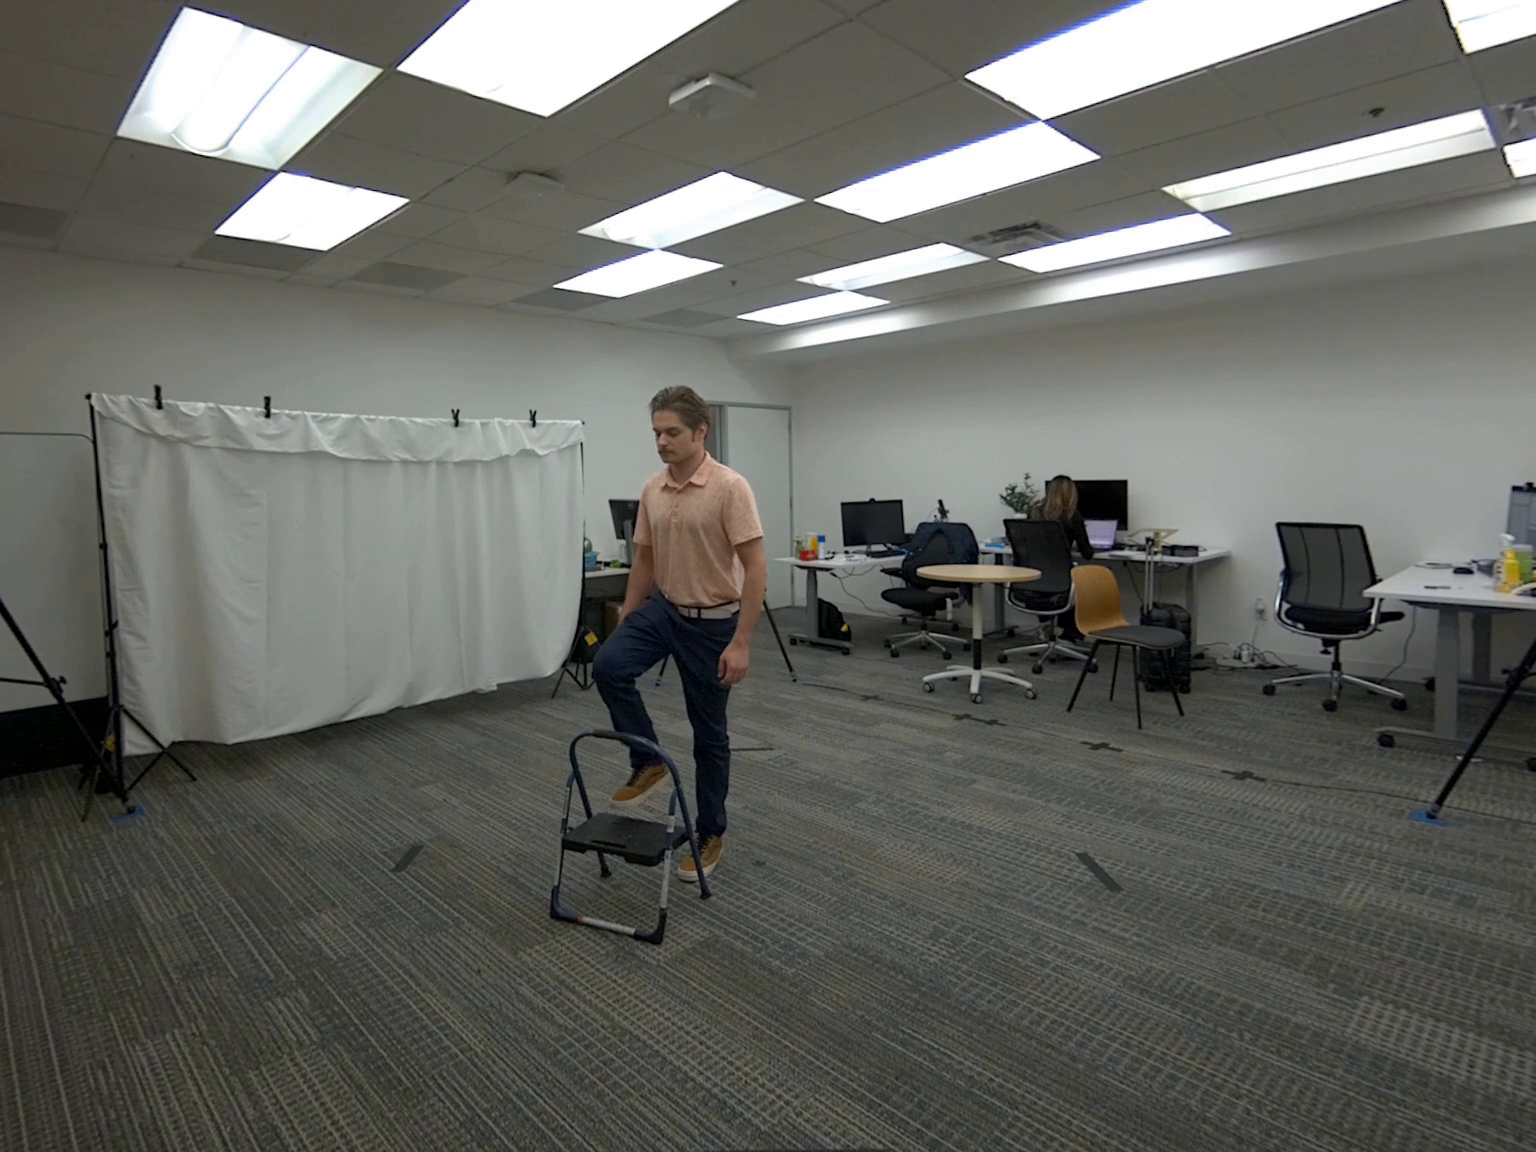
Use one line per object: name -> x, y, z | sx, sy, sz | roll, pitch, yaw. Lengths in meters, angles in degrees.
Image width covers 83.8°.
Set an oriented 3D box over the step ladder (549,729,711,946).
step ladder -> -0.457, 0.789, 2.791 | 0.440, 0.603, 0.343 | 1, 5, 24
